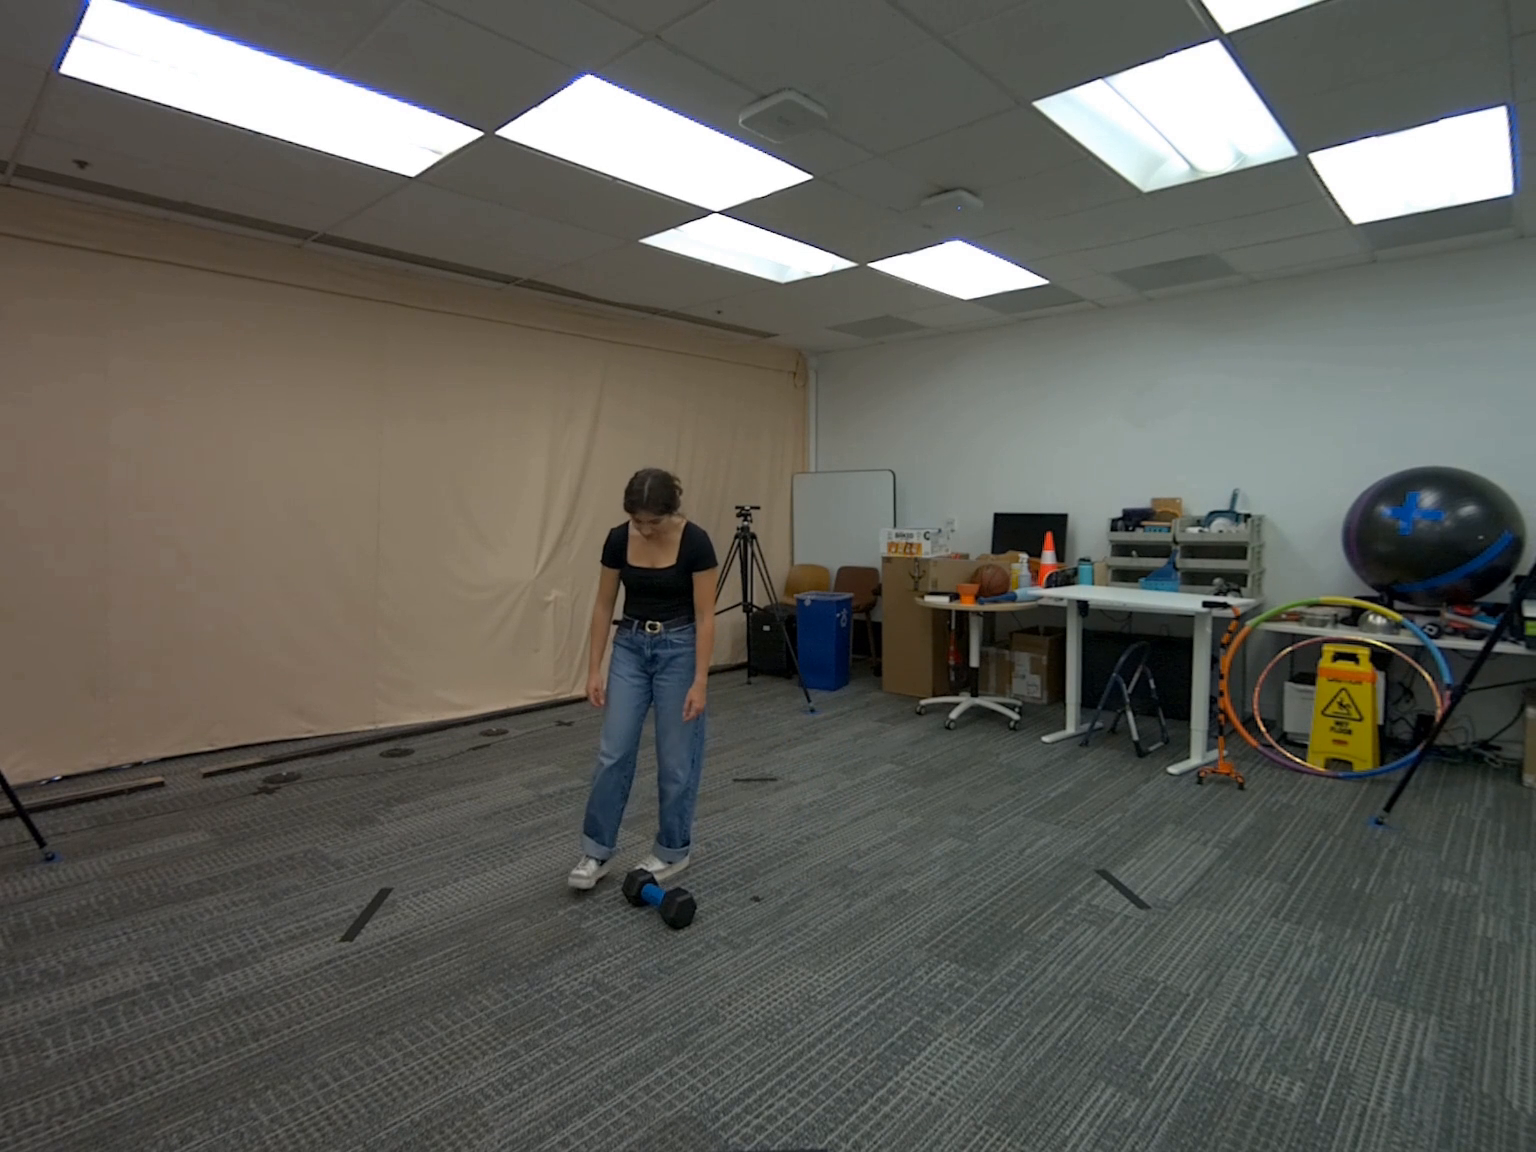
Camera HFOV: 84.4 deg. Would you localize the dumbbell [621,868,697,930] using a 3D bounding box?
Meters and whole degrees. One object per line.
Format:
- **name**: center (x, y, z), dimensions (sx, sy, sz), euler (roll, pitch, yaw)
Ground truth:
- **dumbbell**: center (-0.370, 1.099, 2.879), dimensions (0.303, 0.120, 0.107), euler (4, 37, 47)
